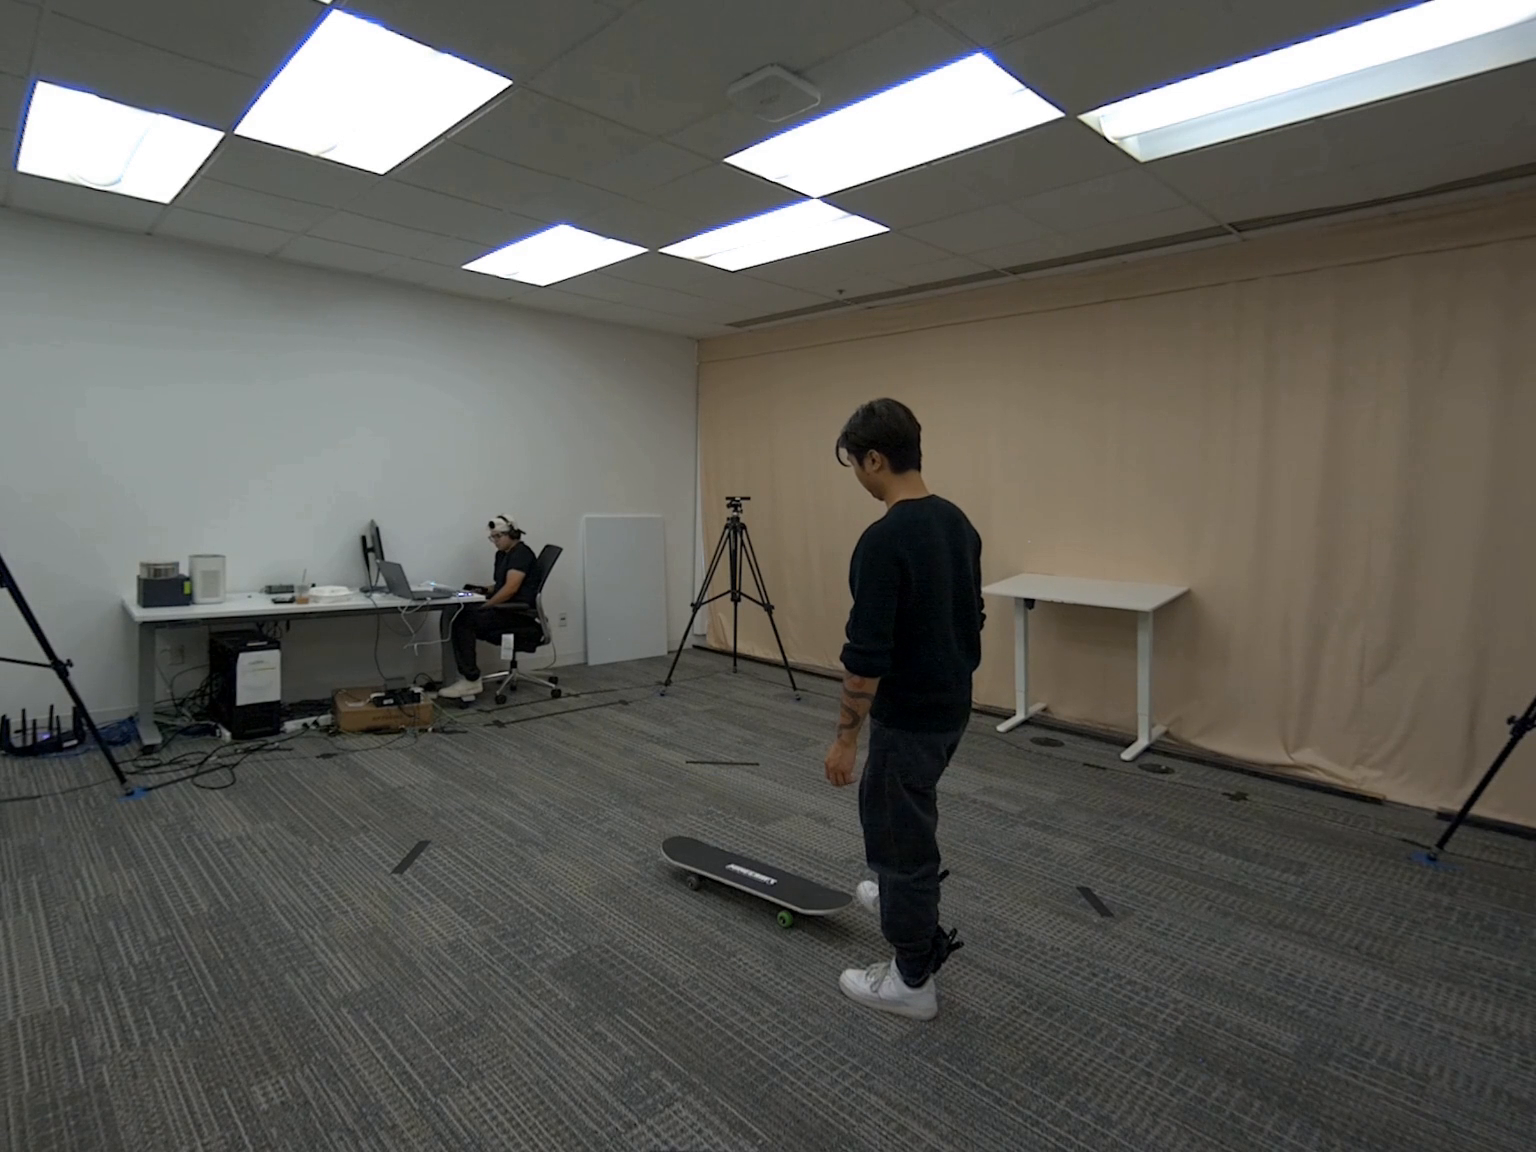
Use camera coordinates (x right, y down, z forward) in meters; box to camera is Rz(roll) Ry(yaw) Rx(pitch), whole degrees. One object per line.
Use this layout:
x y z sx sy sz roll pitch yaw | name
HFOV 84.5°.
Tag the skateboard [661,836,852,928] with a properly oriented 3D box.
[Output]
-0.069 1.069 2.923 0.805 0.110 0.189 5 6 37 | skateboard
